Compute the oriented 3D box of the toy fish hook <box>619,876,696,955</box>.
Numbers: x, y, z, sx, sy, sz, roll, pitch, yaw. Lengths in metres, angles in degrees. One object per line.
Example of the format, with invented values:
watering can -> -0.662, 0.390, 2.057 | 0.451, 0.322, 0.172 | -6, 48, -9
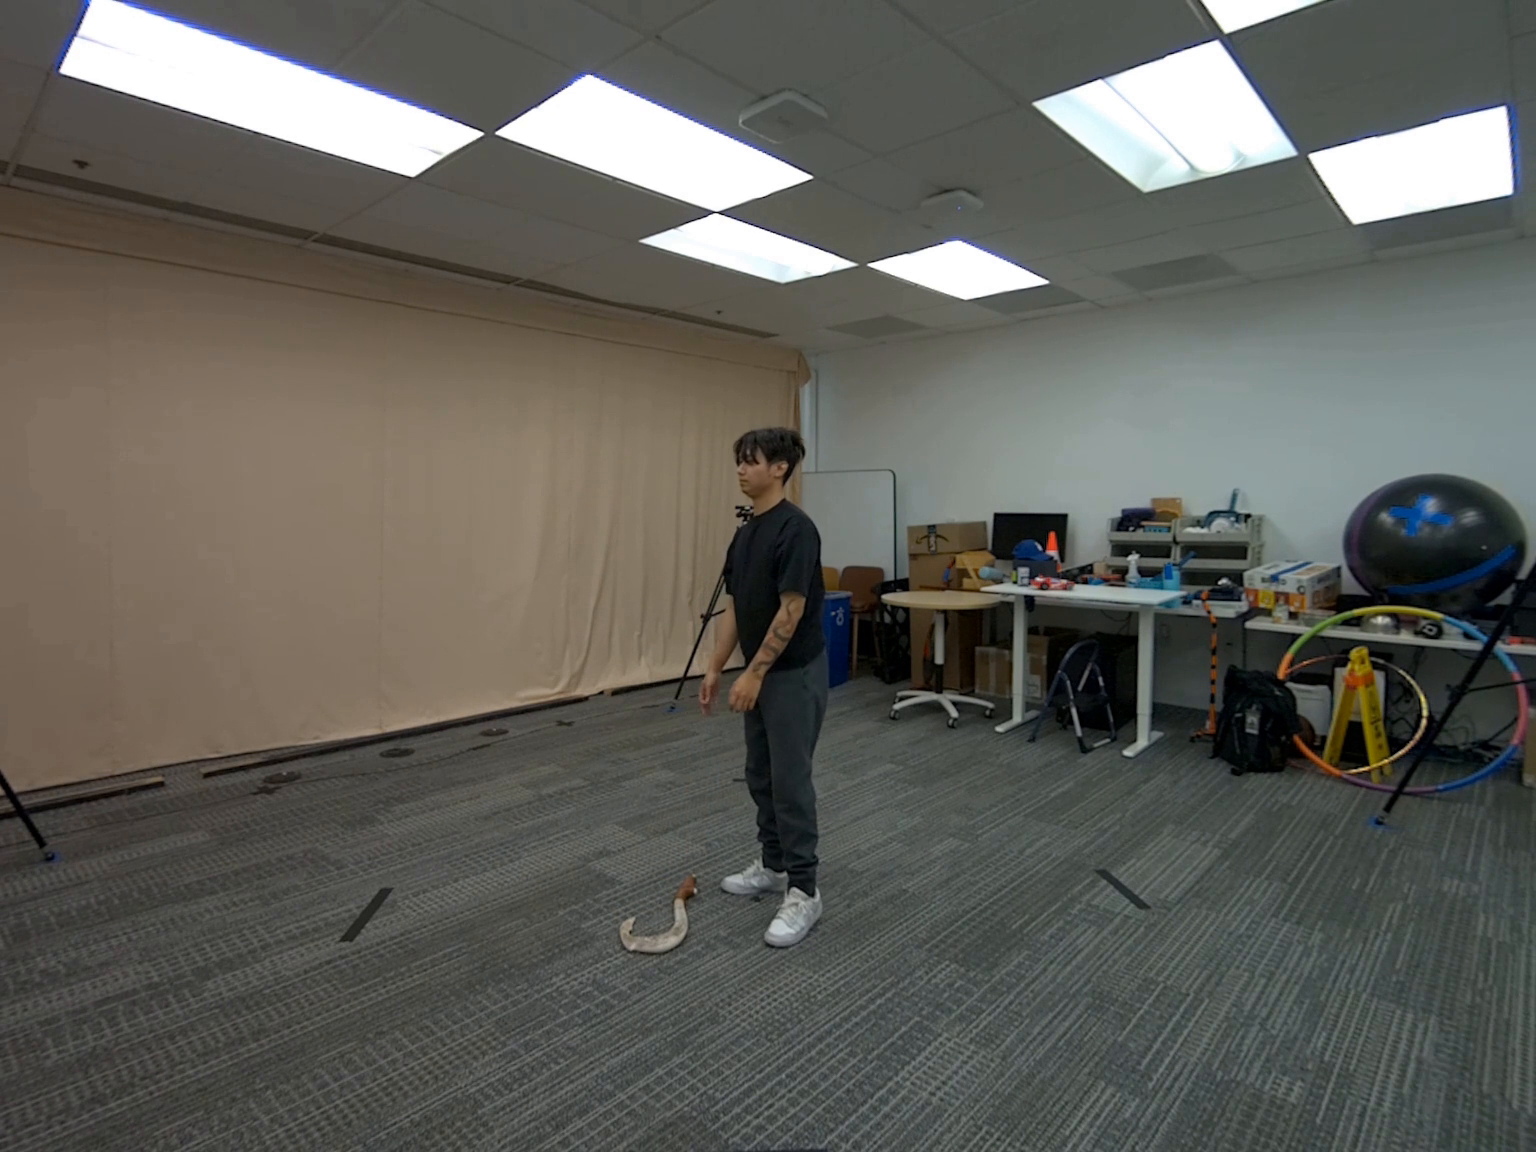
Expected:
toy fish hook -> -0.359, 1.133, 2.858 | 0.227, 0.048, 0.503 | 2, 5, 6
